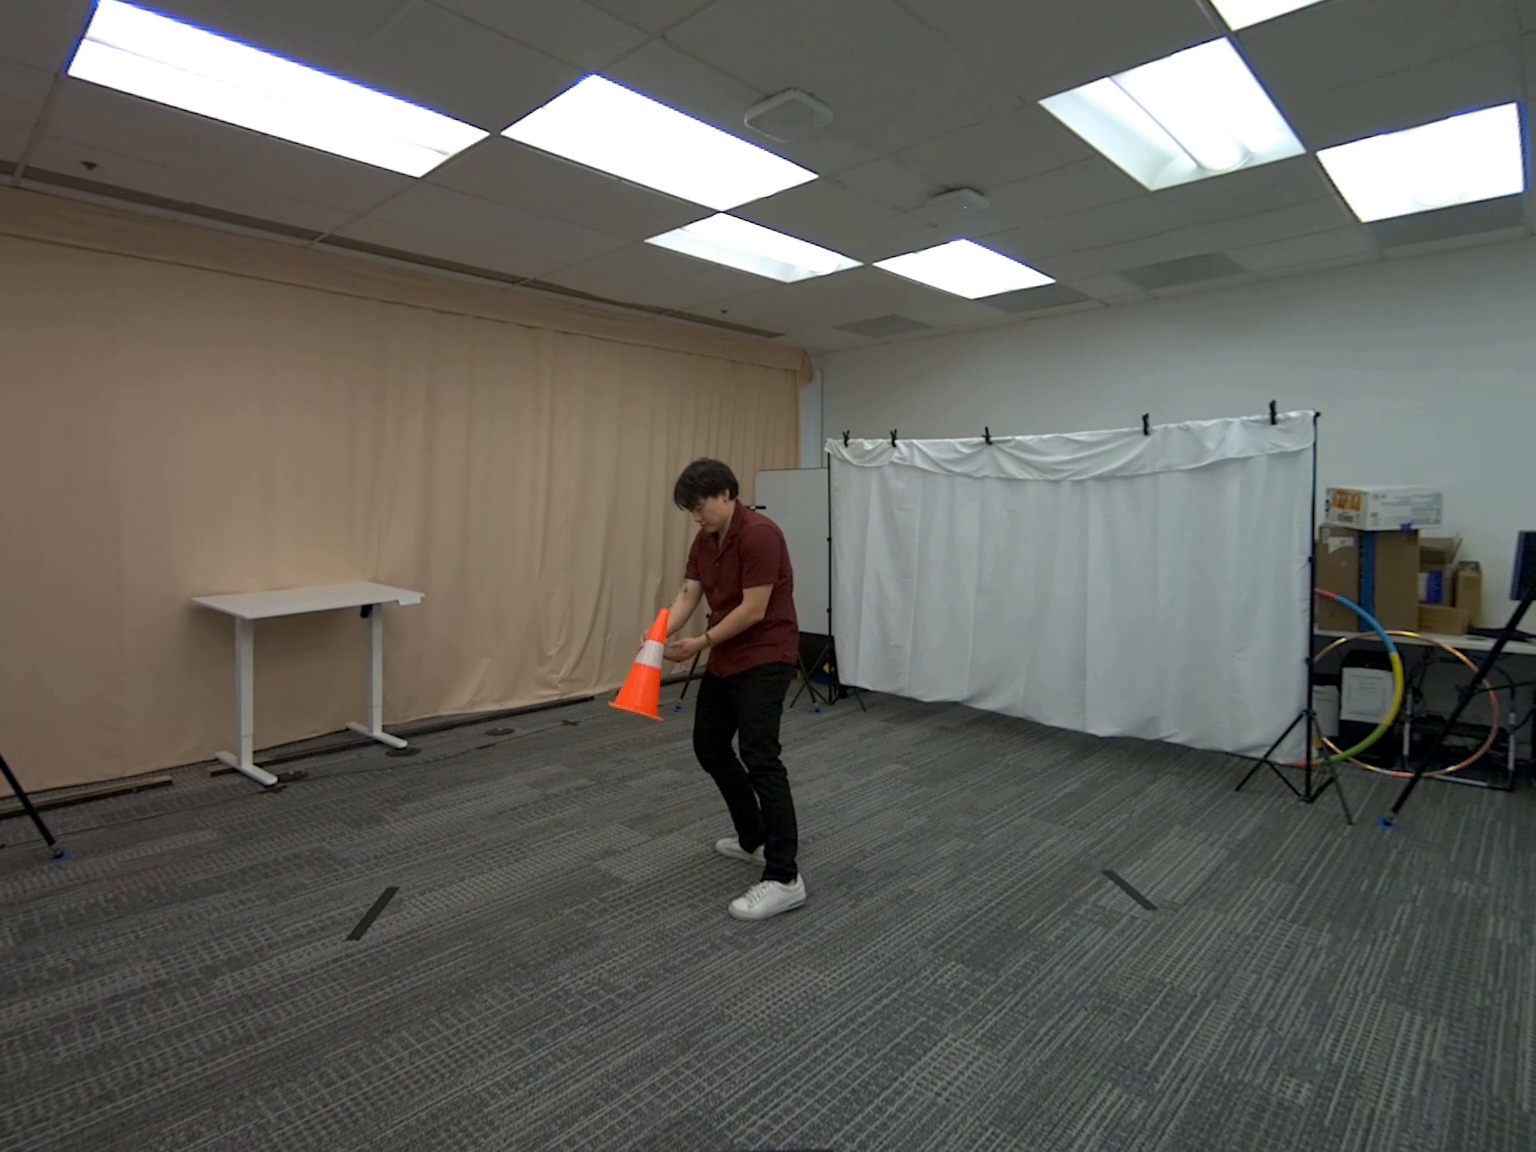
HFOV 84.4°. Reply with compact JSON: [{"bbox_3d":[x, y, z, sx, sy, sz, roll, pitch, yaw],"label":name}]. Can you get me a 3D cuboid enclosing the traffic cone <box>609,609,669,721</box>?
[{"bbox_3d":[-0.432,0.304,3.070,0.201,0.384,0.207,17,-7,-11],"label":"traffic cone"}]
